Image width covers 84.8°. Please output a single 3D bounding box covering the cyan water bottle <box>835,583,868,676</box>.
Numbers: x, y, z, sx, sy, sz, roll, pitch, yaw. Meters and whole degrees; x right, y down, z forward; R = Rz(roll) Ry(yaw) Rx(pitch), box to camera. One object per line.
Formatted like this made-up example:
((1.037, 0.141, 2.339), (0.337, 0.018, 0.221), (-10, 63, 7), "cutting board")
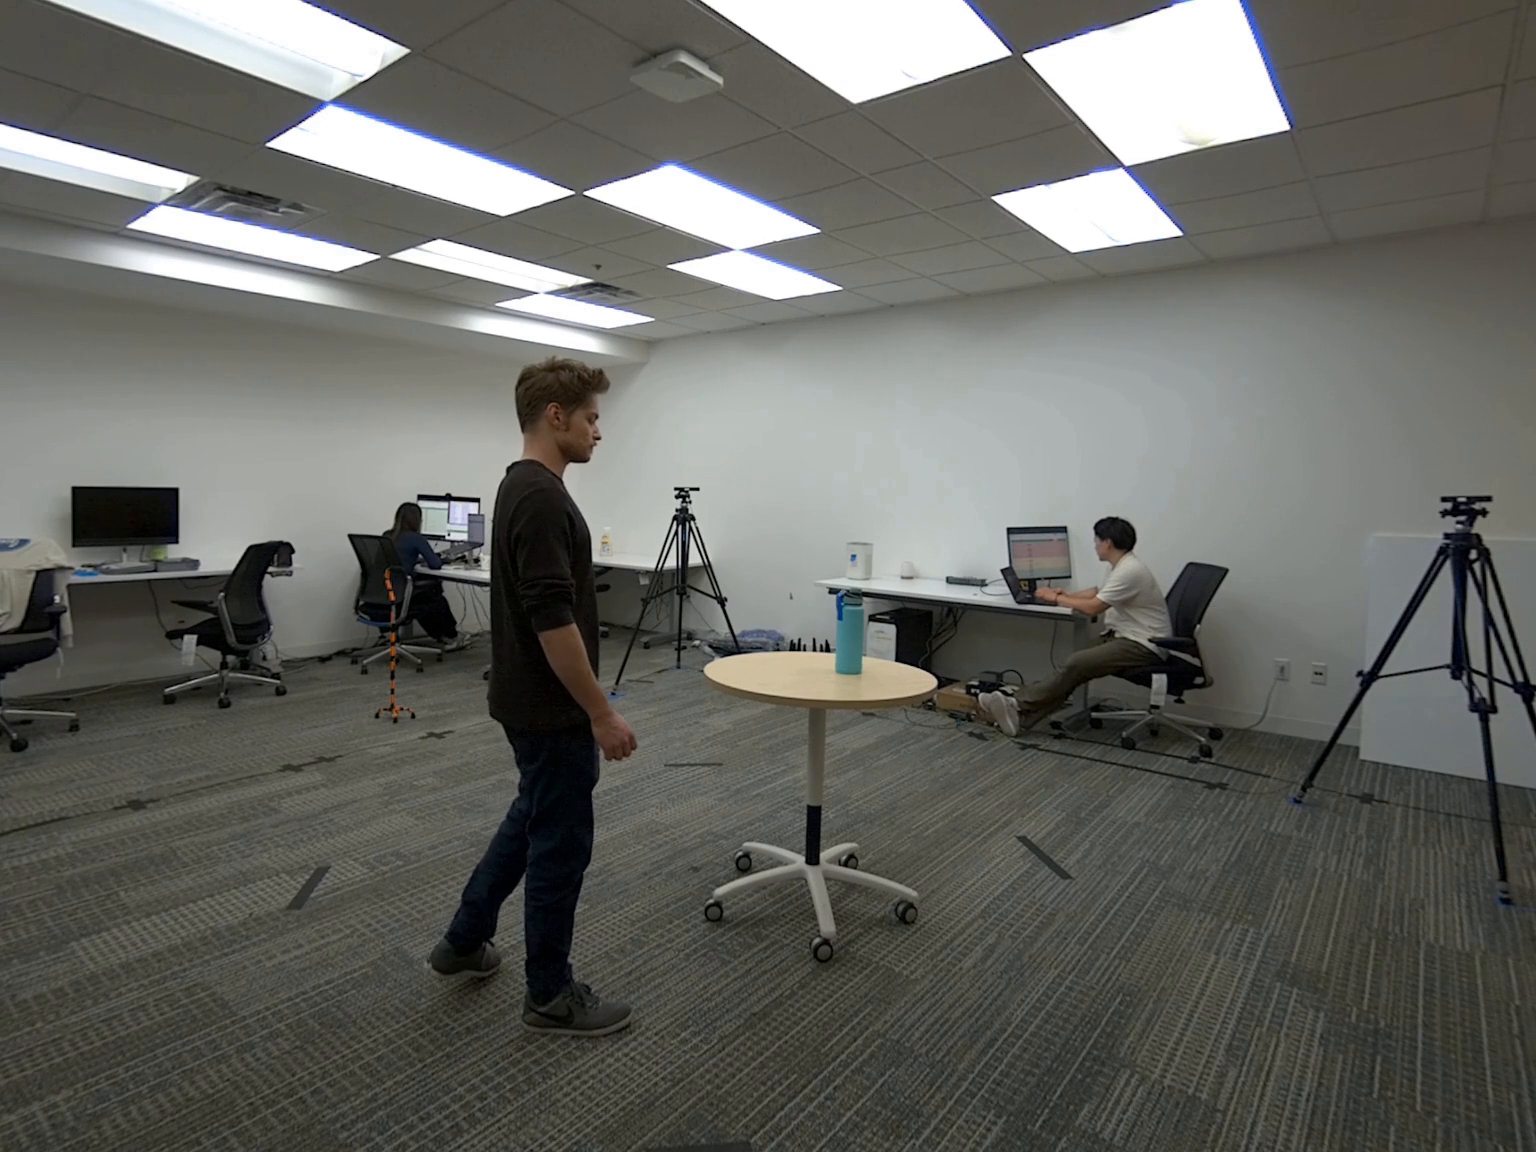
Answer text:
((0.272, 0.180, 2.850), (0.092, 0.282, 0.093), (0, 4, -2), "cyan water bottle")
